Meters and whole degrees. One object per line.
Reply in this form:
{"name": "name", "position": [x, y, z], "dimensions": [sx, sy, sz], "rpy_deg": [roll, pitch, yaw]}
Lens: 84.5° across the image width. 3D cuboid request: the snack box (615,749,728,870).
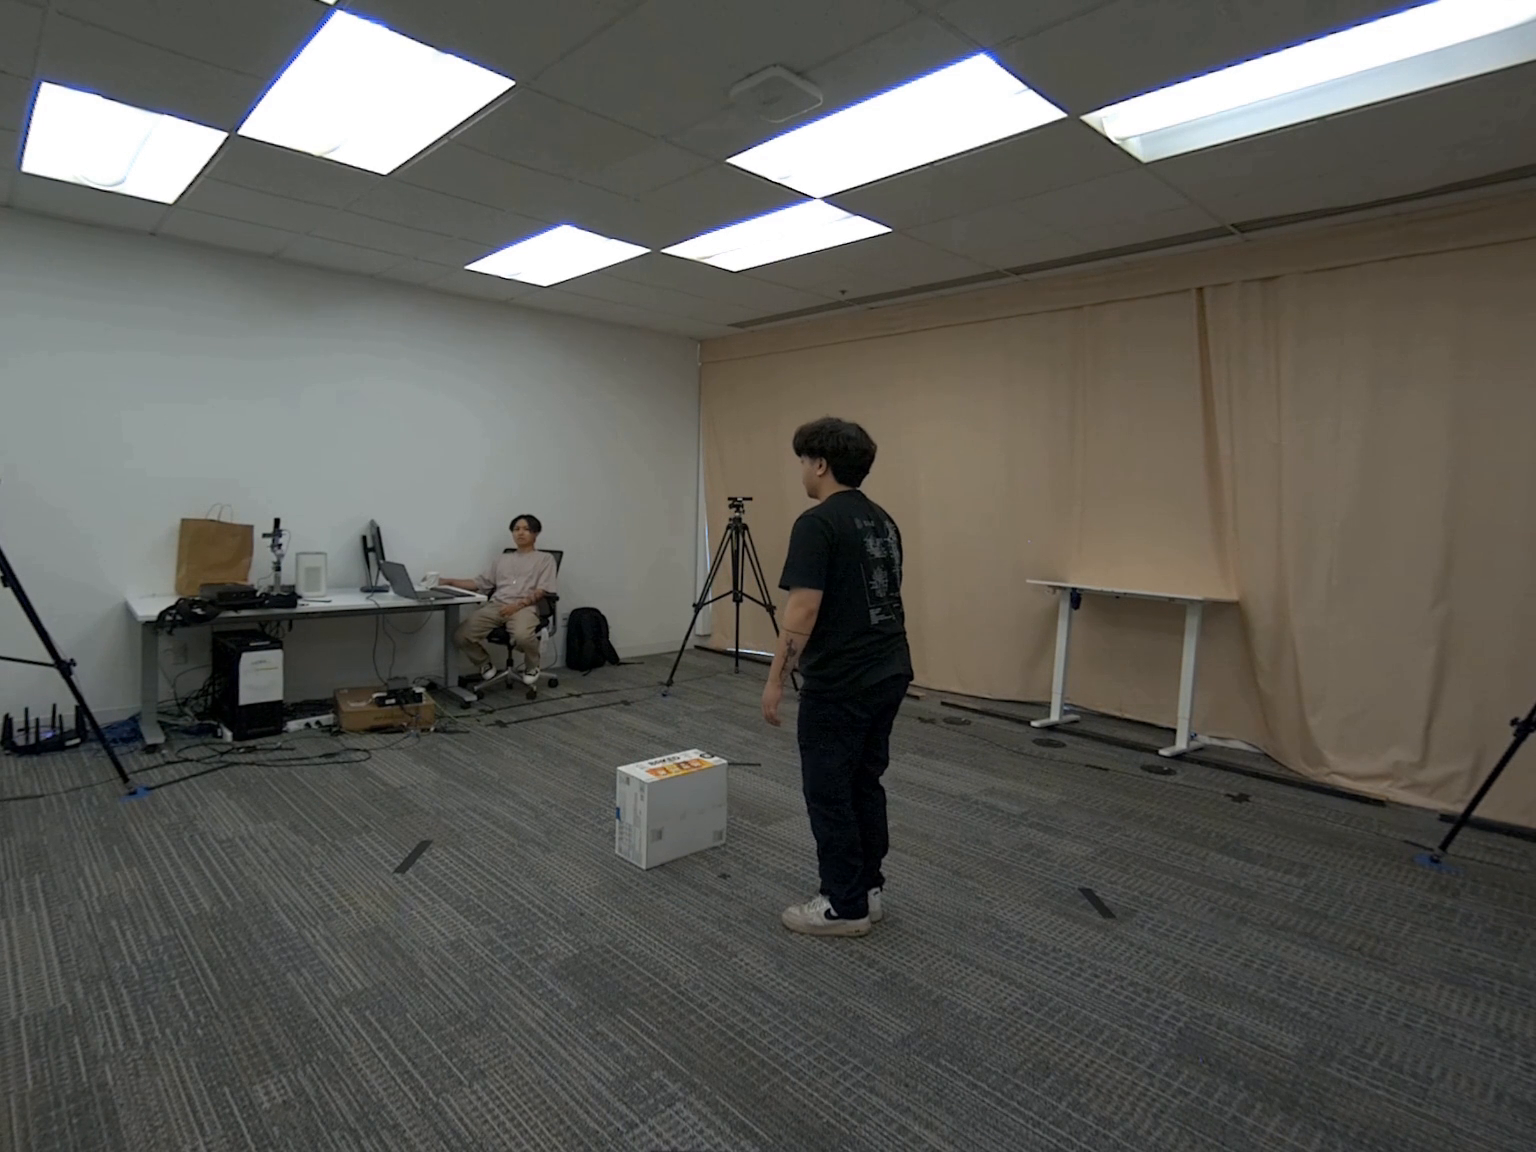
{"name": "snack box", "position": [-0.385, 0.912, 3.328], "dimensions": [0.396, 0.339, 0.211], "rpy_deg": [-3, 6, -44]}
